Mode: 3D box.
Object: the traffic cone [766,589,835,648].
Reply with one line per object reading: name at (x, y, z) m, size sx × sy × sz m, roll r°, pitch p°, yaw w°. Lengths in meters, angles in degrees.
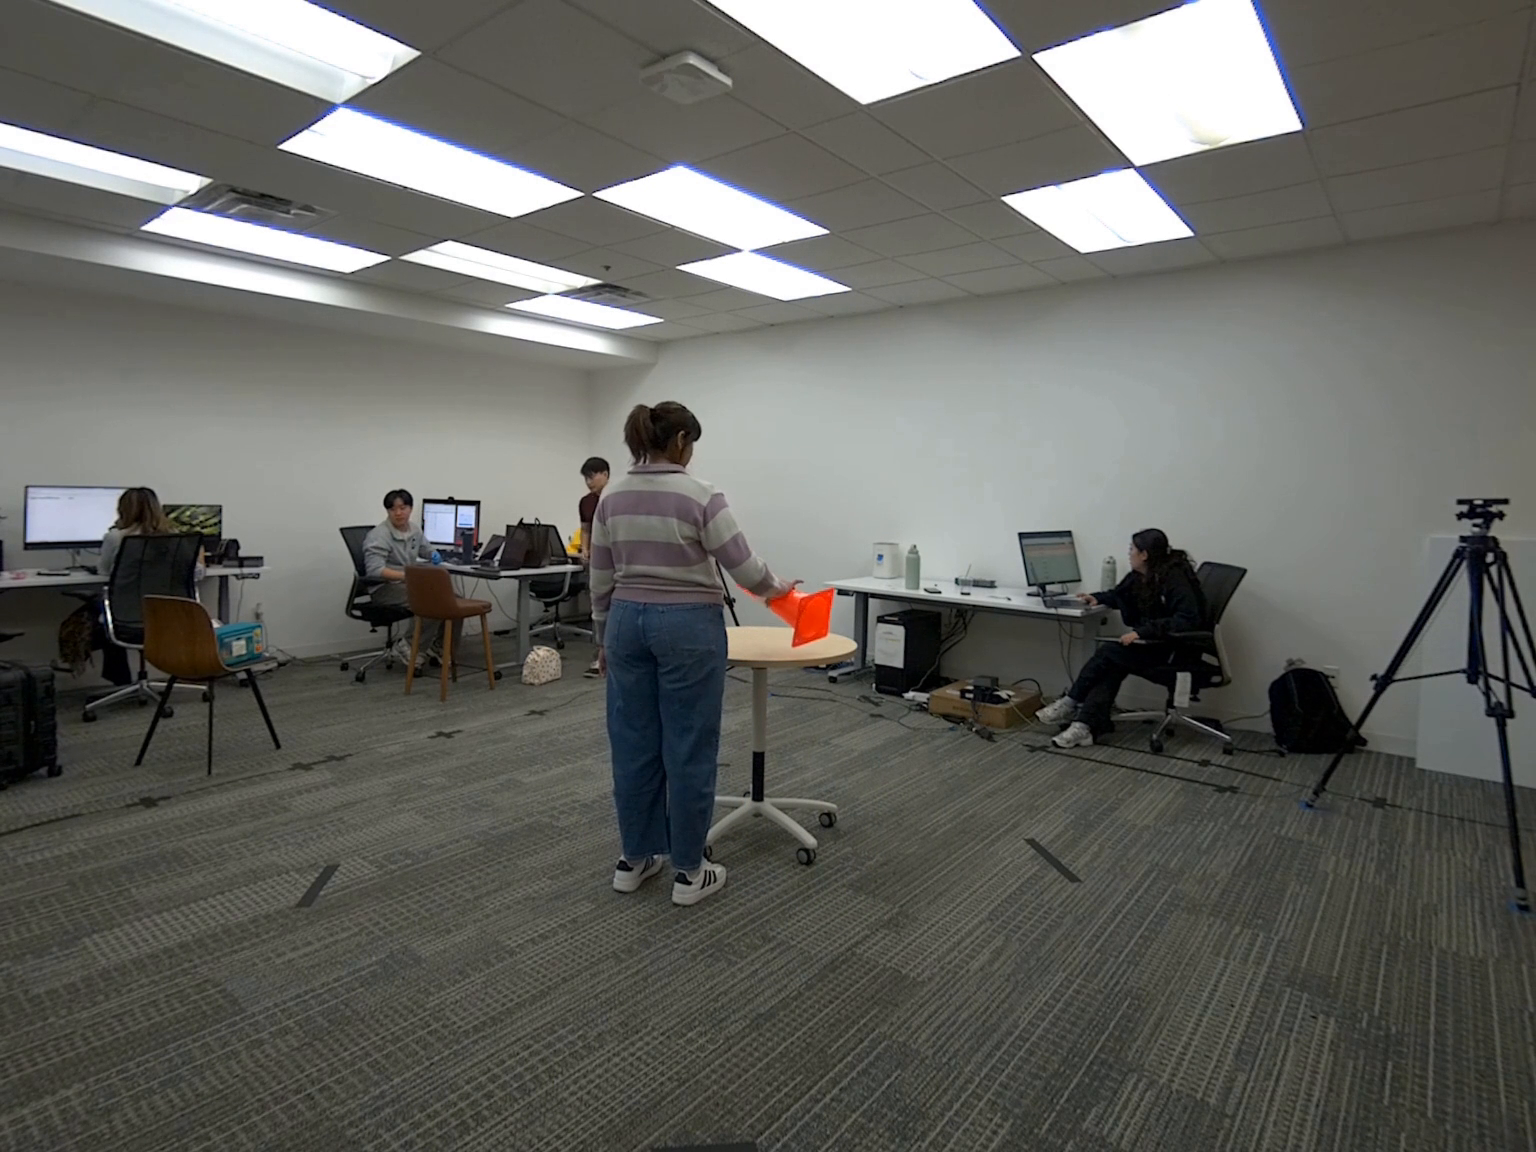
traffic cone at (0.018, 0.084, 3.176) m, size 0.200 × 0.200 × 0.400 m, roll -13°, pitch 29°, yaw -42°
